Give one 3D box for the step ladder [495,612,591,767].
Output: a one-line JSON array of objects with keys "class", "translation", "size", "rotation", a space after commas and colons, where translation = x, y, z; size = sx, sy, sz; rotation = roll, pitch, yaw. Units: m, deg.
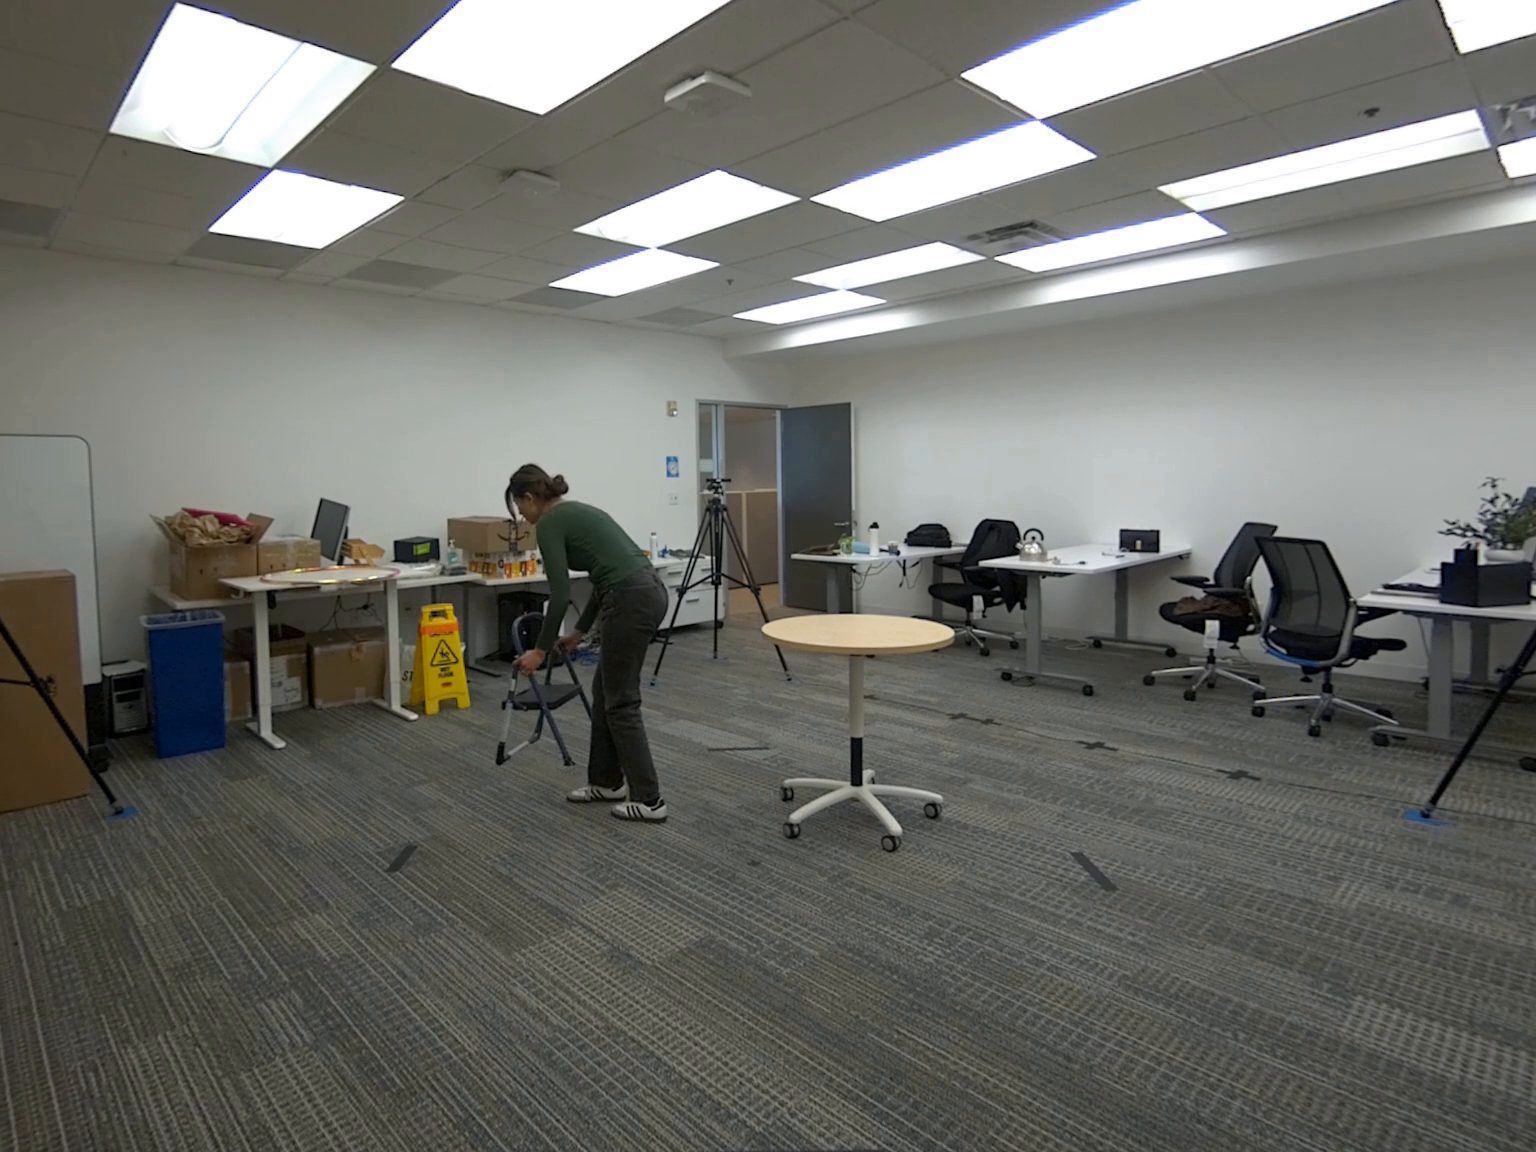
[{"class": "step ladder", "translation": [-0.962, 0.470, 3.743], "size": [0.353, 0.605, 0.427], "rotation": [-3, 2, 9]}]
